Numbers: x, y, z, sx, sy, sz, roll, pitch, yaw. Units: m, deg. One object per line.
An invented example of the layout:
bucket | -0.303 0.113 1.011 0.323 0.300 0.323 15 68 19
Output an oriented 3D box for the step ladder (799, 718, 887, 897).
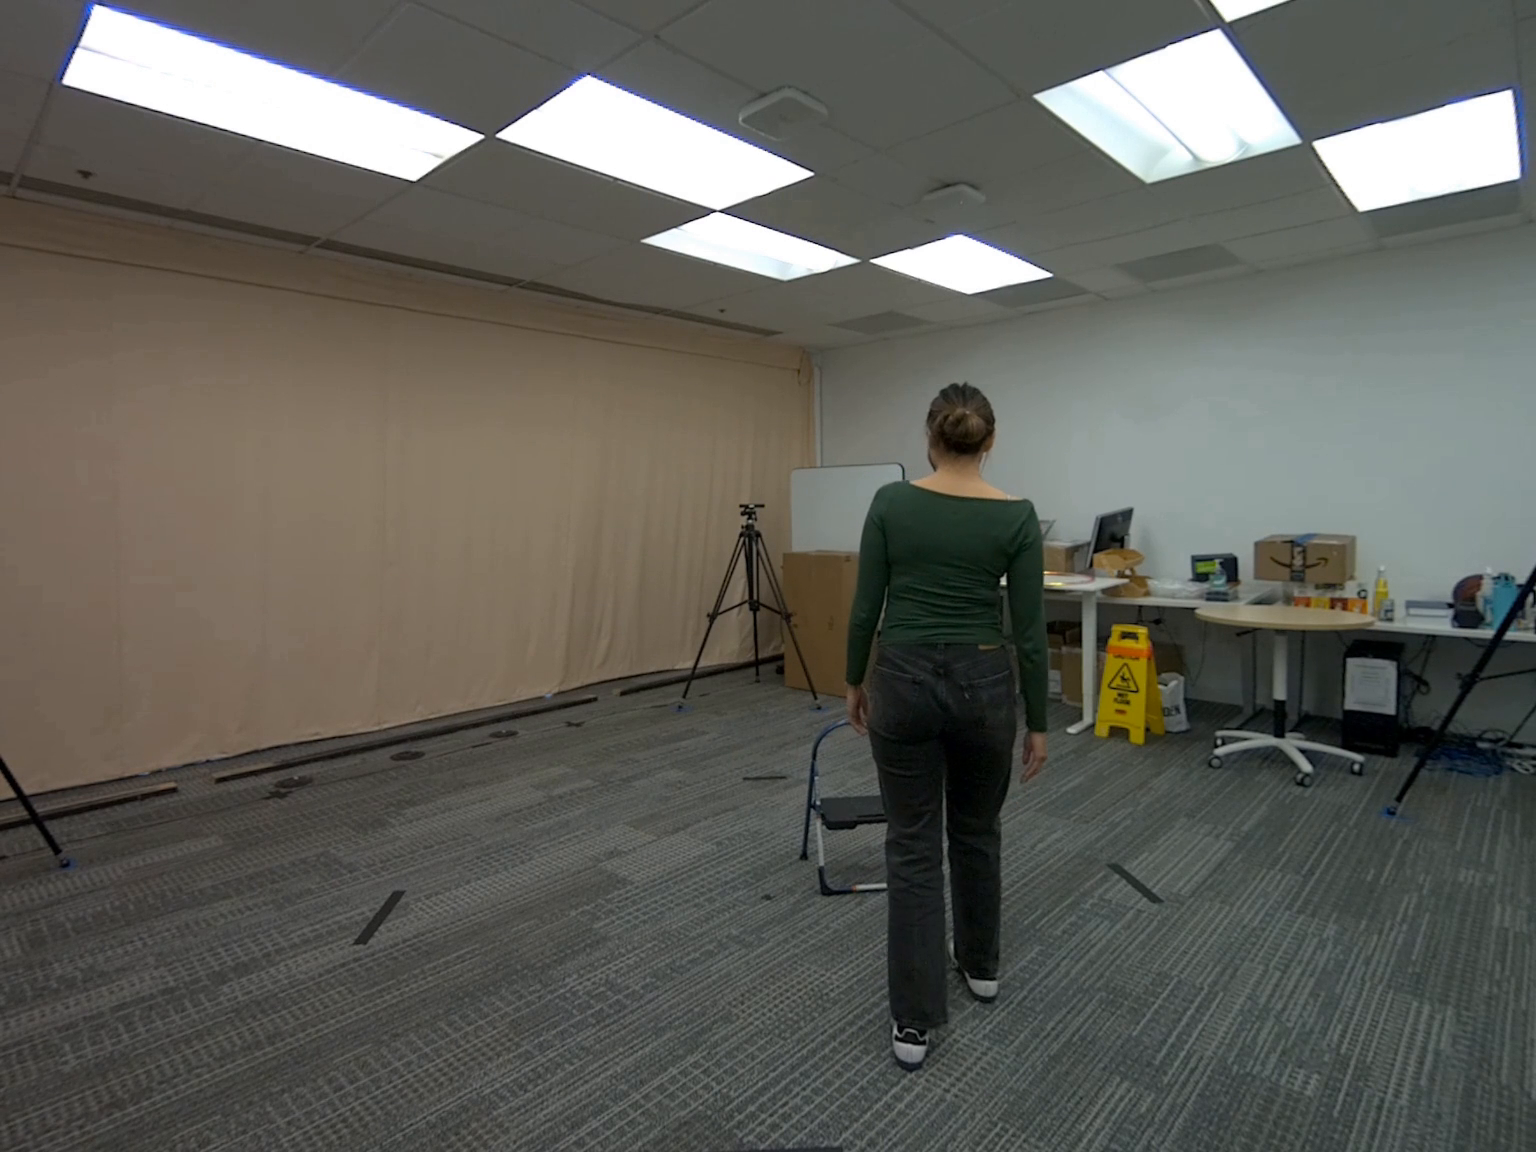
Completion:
step ladder | 0.360 0.818 3.153 0.427 0.605 0.353 -1 4 -9
